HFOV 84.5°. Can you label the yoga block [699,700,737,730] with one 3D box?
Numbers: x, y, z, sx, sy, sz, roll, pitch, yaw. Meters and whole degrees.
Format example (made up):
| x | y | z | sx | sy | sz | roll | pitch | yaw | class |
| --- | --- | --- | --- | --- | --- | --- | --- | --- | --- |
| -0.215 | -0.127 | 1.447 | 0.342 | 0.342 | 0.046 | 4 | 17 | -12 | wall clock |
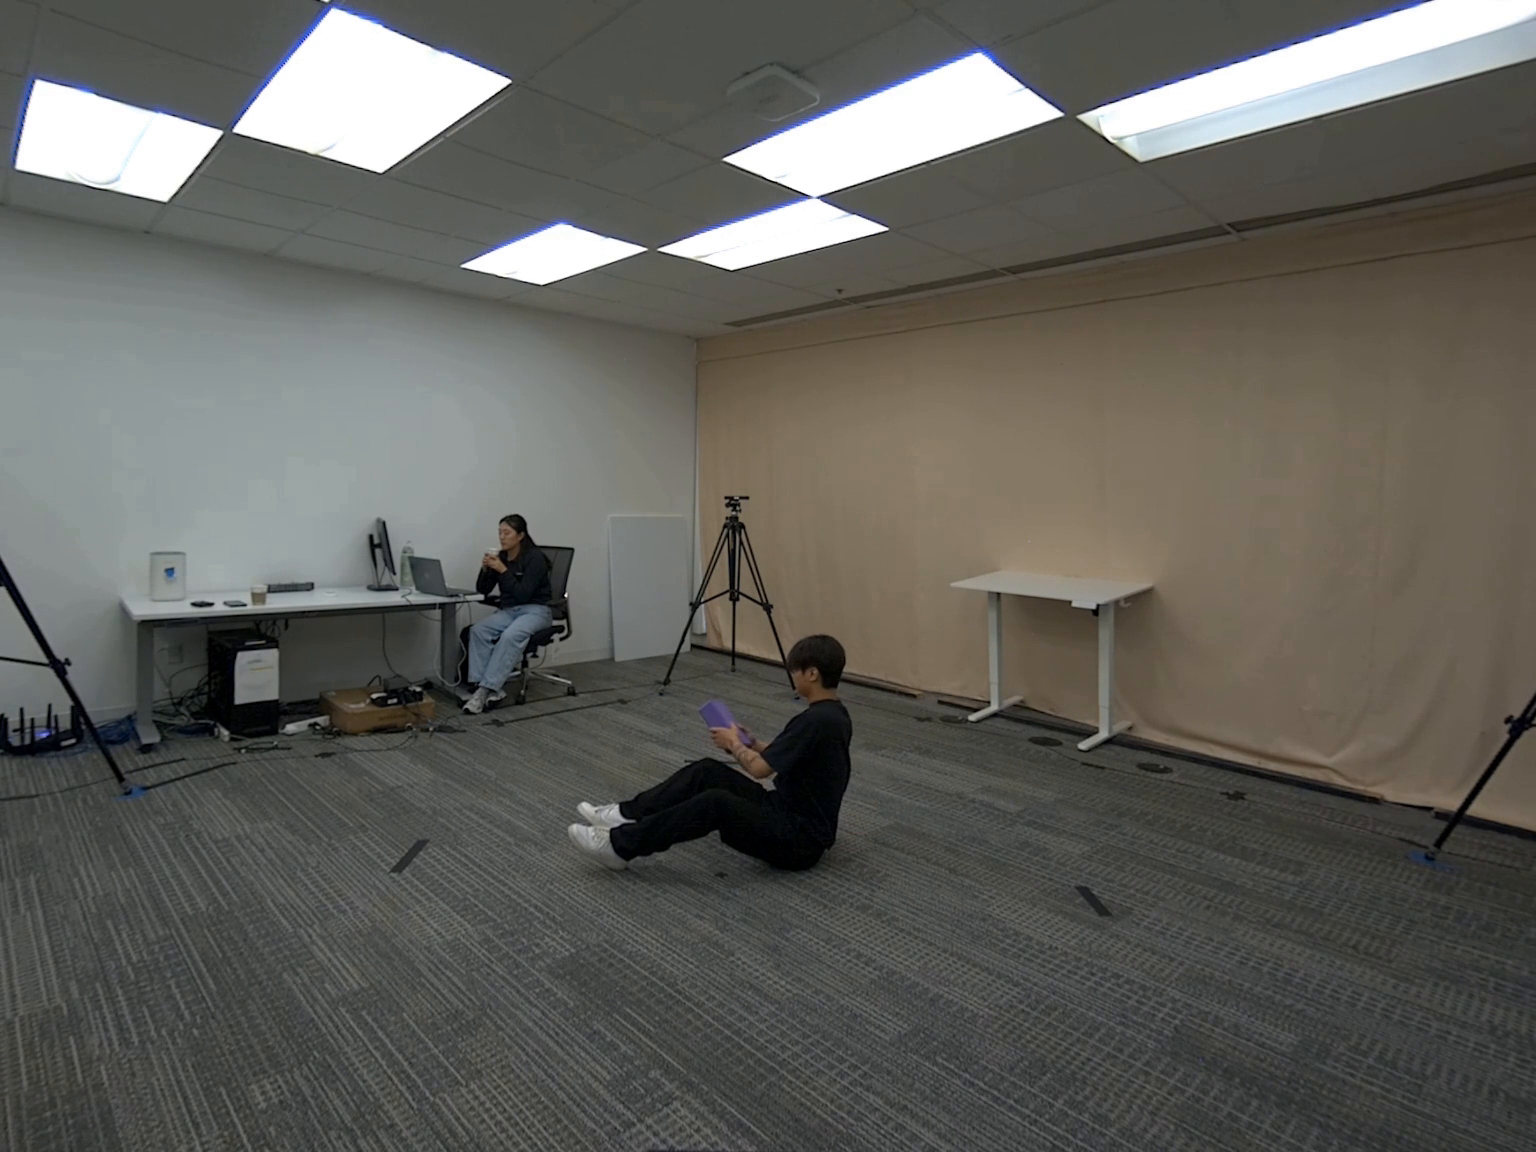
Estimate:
| x | y | z | sx | sy | sz | roll | pitch | yaw | class |
| --- | --- | --- | --- | --- | --- | --- | --- | --- | --- |
| -0.177 | 0.629 | 3.500 | 0.076 | 0.234 | 0.145 | -41 | -22 | 6 | yoga block |
